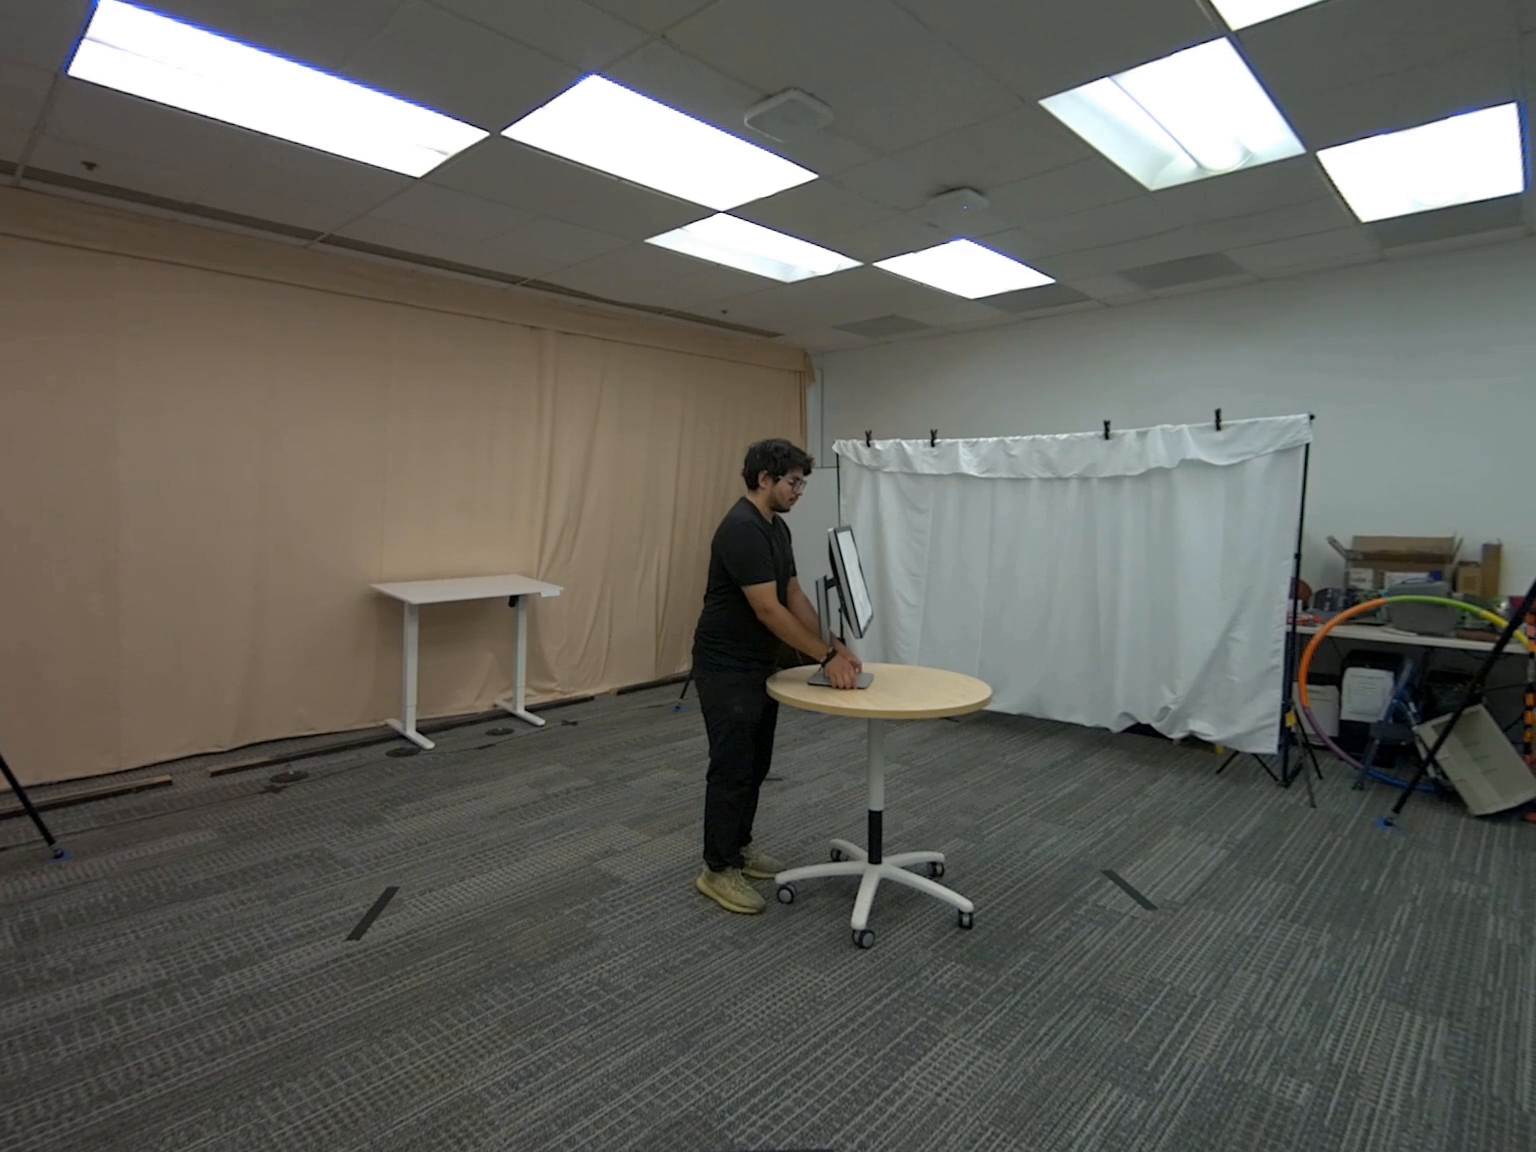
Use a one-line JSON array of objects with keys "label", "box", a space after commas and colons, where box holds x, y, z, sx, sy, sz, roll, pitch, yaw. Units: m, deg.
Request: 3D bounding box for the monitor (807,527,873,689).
[{"label": "monitor", "box": [0.241, 0.105, 2.960, 0.213, 0.553, 0.558, -5, 3, 12]}]
